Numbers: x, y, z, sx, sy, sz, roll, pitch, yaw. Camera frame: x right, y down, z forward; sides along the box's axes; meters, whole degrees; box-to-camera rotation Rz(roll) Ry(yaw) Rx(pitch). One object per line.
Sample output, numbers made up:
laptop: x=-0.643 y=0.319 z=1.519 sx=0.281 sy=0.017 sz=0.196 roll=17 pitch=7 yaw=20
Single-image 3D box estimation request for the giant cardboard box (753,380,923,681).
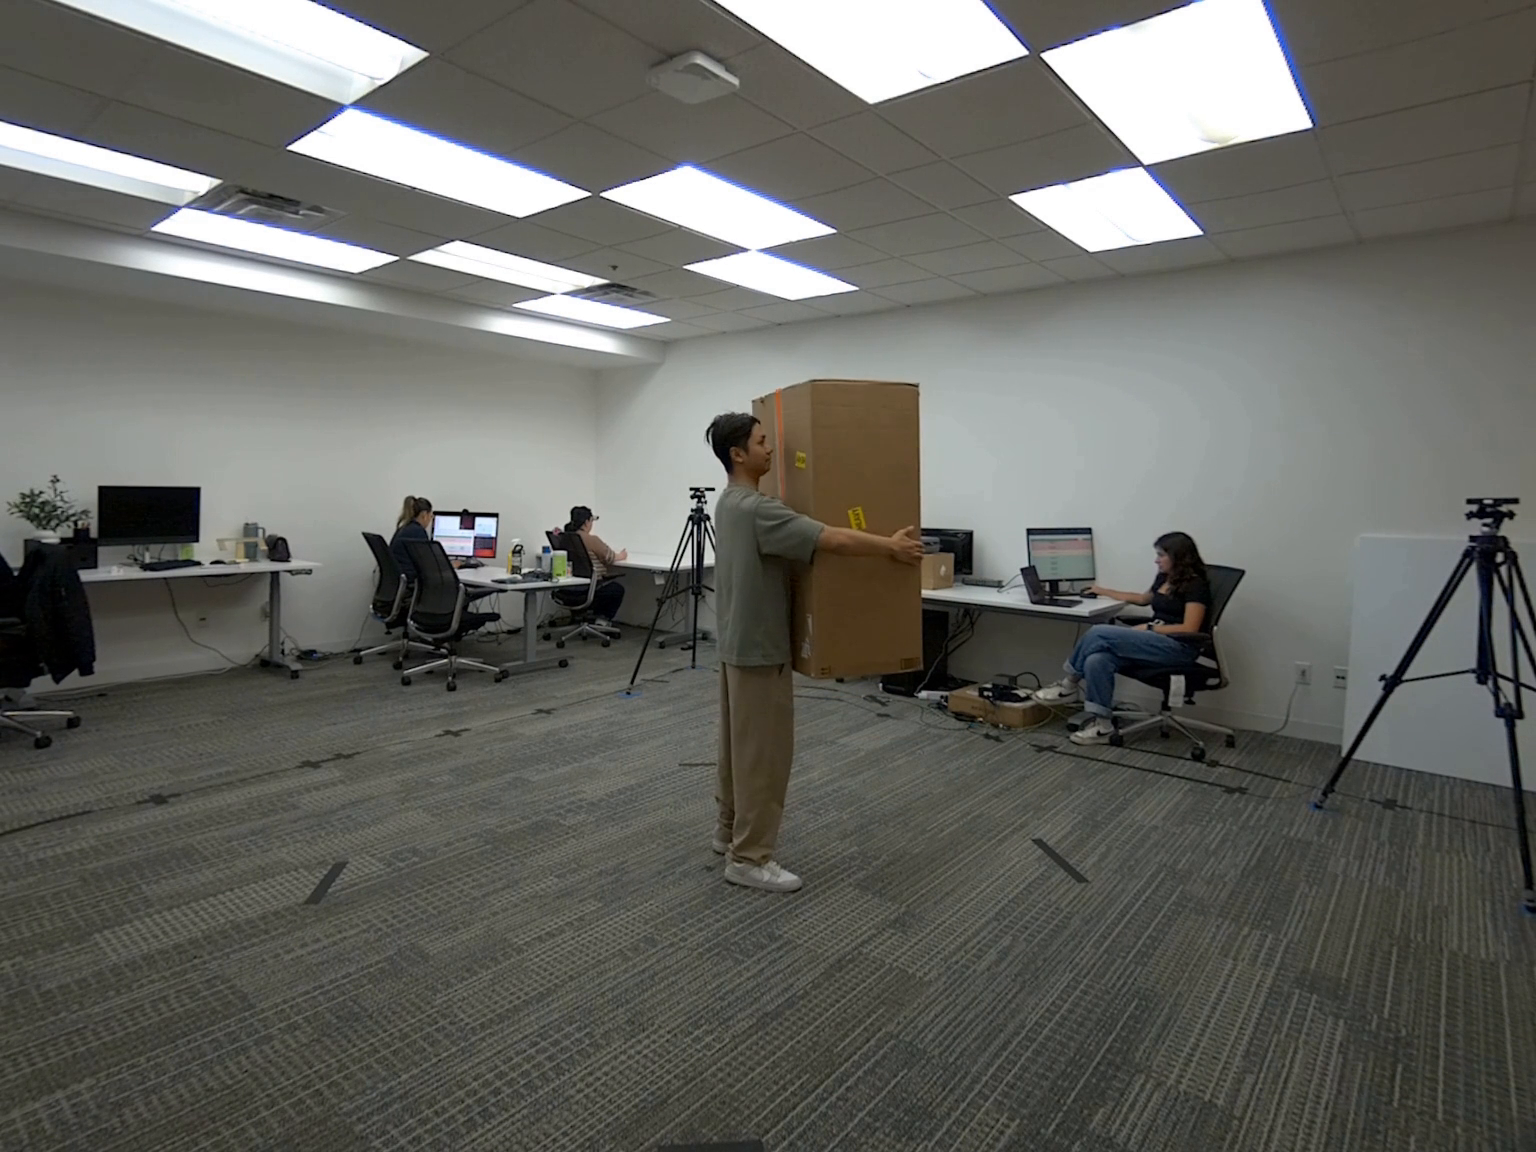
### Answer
giant cardboard box: x=0.232 y=-0.189 z=3.206 sx=0.418 sy=1.023 sz=0.590 roll=-2 pitch=3 yaw=-20
